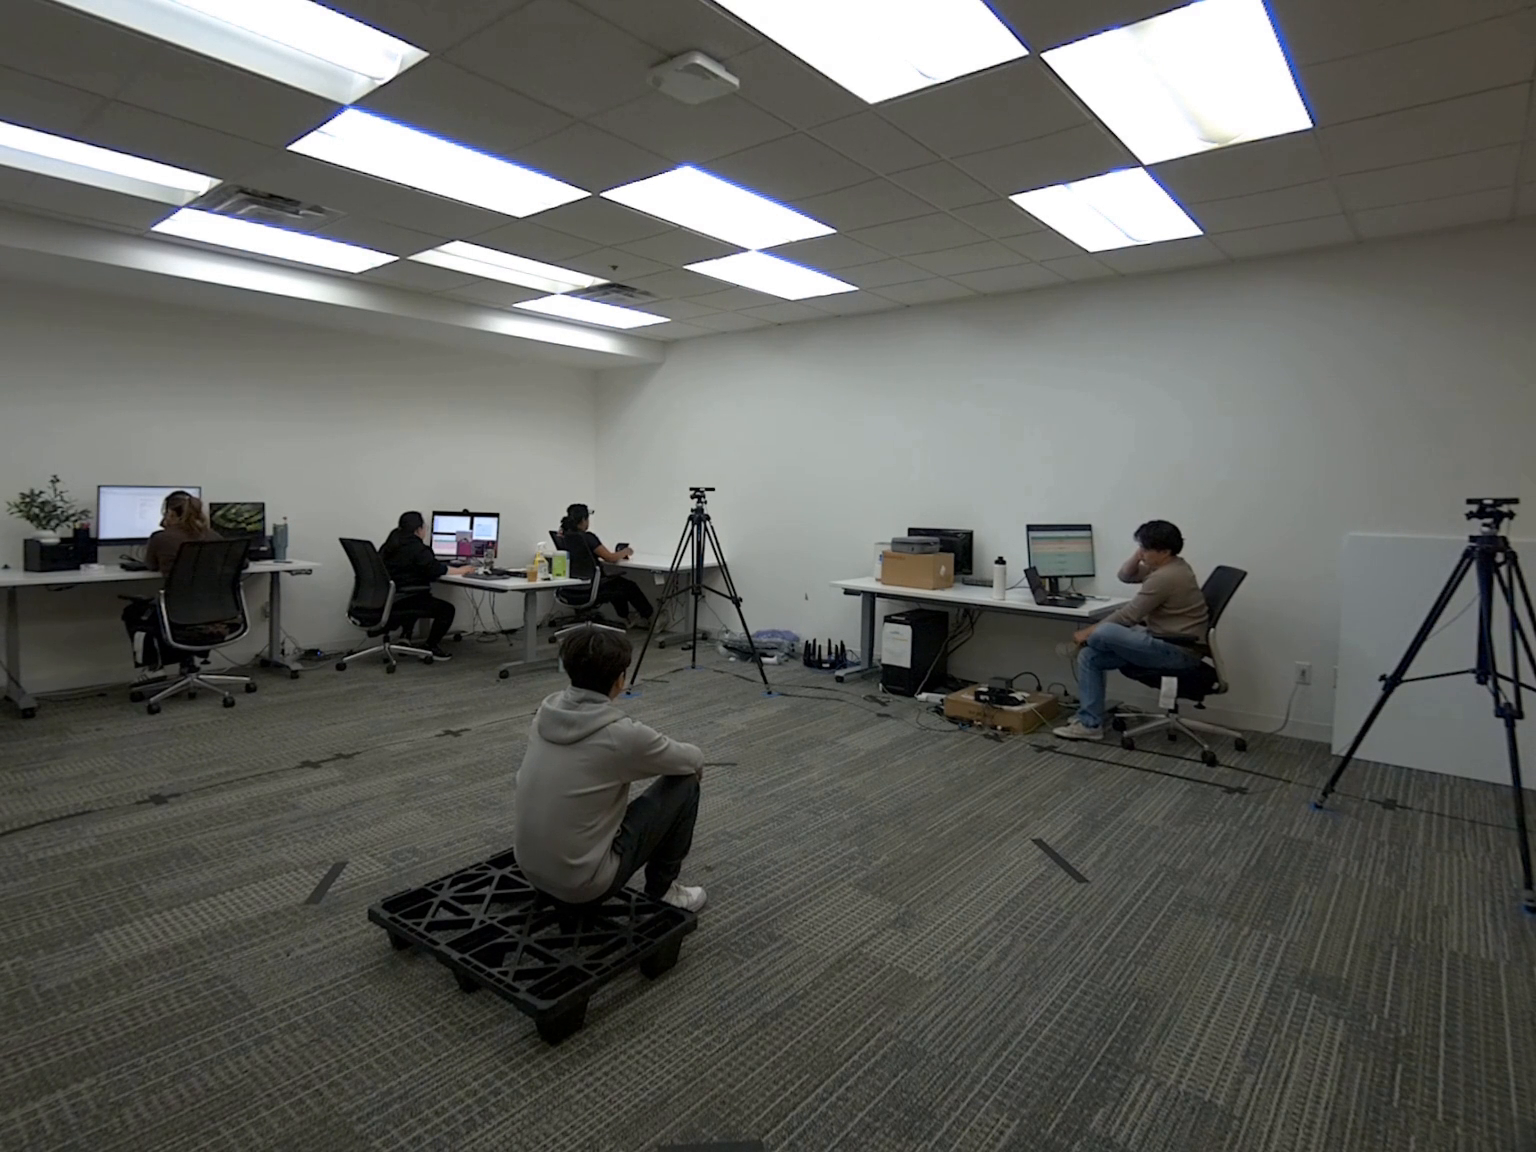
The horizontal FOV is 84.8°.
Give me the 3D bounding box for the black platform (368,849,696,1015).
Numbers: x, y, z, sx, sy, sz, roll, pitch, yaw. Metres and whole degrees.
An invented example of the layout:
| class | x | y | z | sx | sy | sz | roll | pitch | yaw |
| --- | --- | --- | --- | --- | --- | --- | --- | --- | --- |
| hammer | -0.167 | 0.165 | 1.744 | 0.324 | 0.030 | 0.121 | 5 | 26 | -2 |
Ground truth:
| class | x | y | z | sx | sy | sz | roll | pitch | yaw |
| --- | --- | --- | --- | --- | --- | --- | --- | --- | --- |
| black platform | -0.705 | 1.051 | 2.519 | 0.832 | 0.143 | 0.588 | 5 | 6 | 36 |
